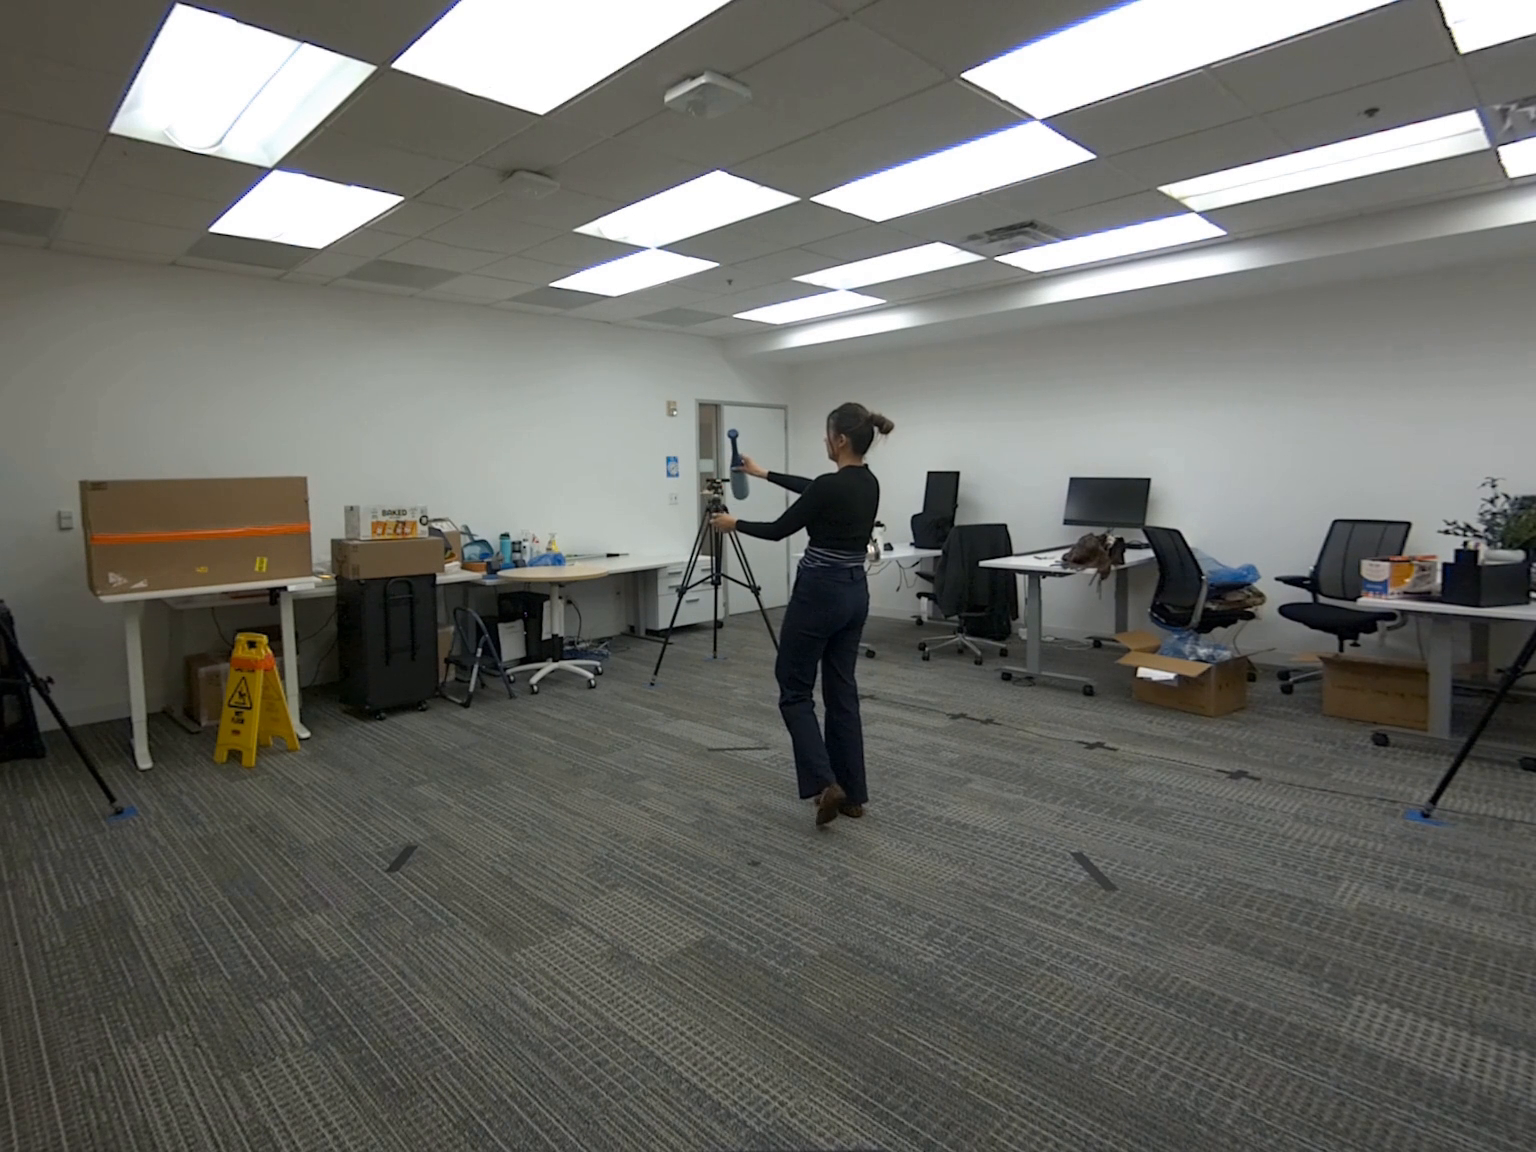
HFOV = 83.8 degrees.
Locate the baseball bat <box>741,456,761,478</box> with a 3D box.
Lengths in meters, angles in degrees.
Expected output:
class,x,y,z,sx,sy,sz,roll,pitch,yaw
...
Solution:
class,x,y,z,sx,sy,sz,roll,pitch,yaw
baseball bat,-0.143,-0.518,3.968,0.089,0.091,0.529,0,-25,5
